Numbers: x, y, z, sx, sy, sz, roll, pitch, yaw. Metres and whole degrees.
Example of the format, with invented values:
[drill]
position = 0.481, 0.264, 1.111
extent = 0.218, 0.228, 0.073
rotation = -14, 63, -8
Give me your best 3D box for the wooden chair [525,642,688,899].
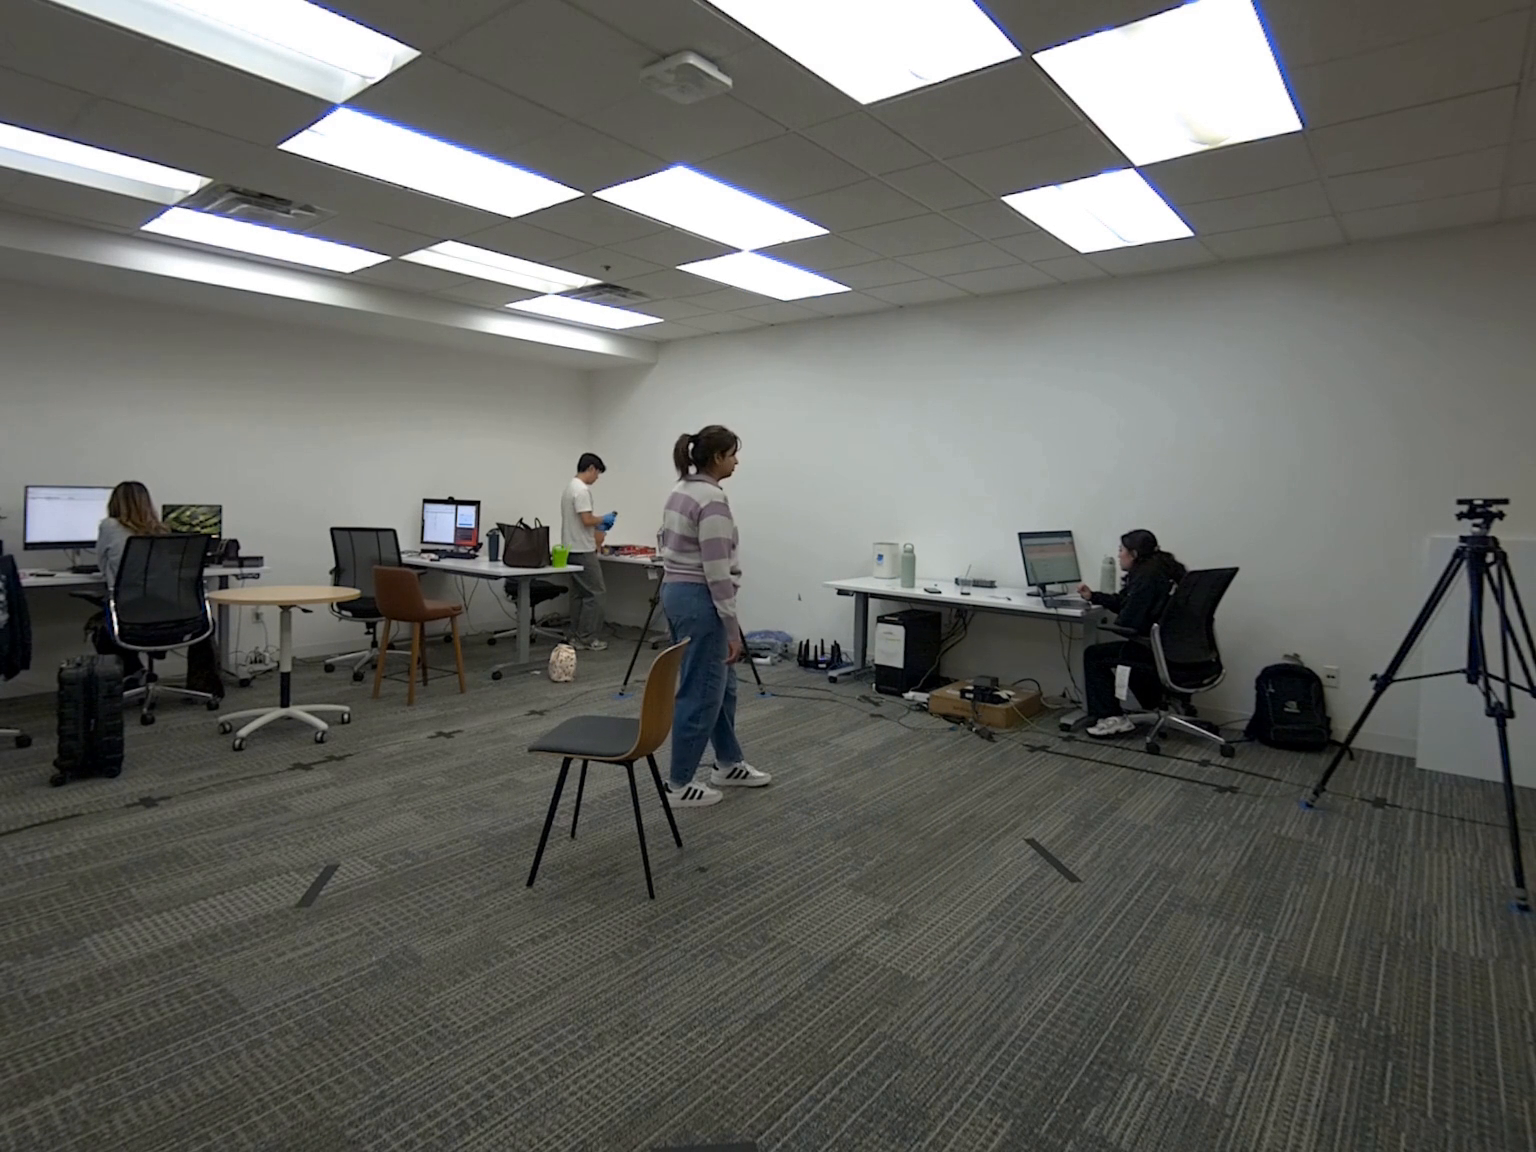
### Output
[wooden chair]
position = -0.596, 0.638, 3.097
extent = 0.529, 0.875, 0.474
rotation = 5, 4, 8
